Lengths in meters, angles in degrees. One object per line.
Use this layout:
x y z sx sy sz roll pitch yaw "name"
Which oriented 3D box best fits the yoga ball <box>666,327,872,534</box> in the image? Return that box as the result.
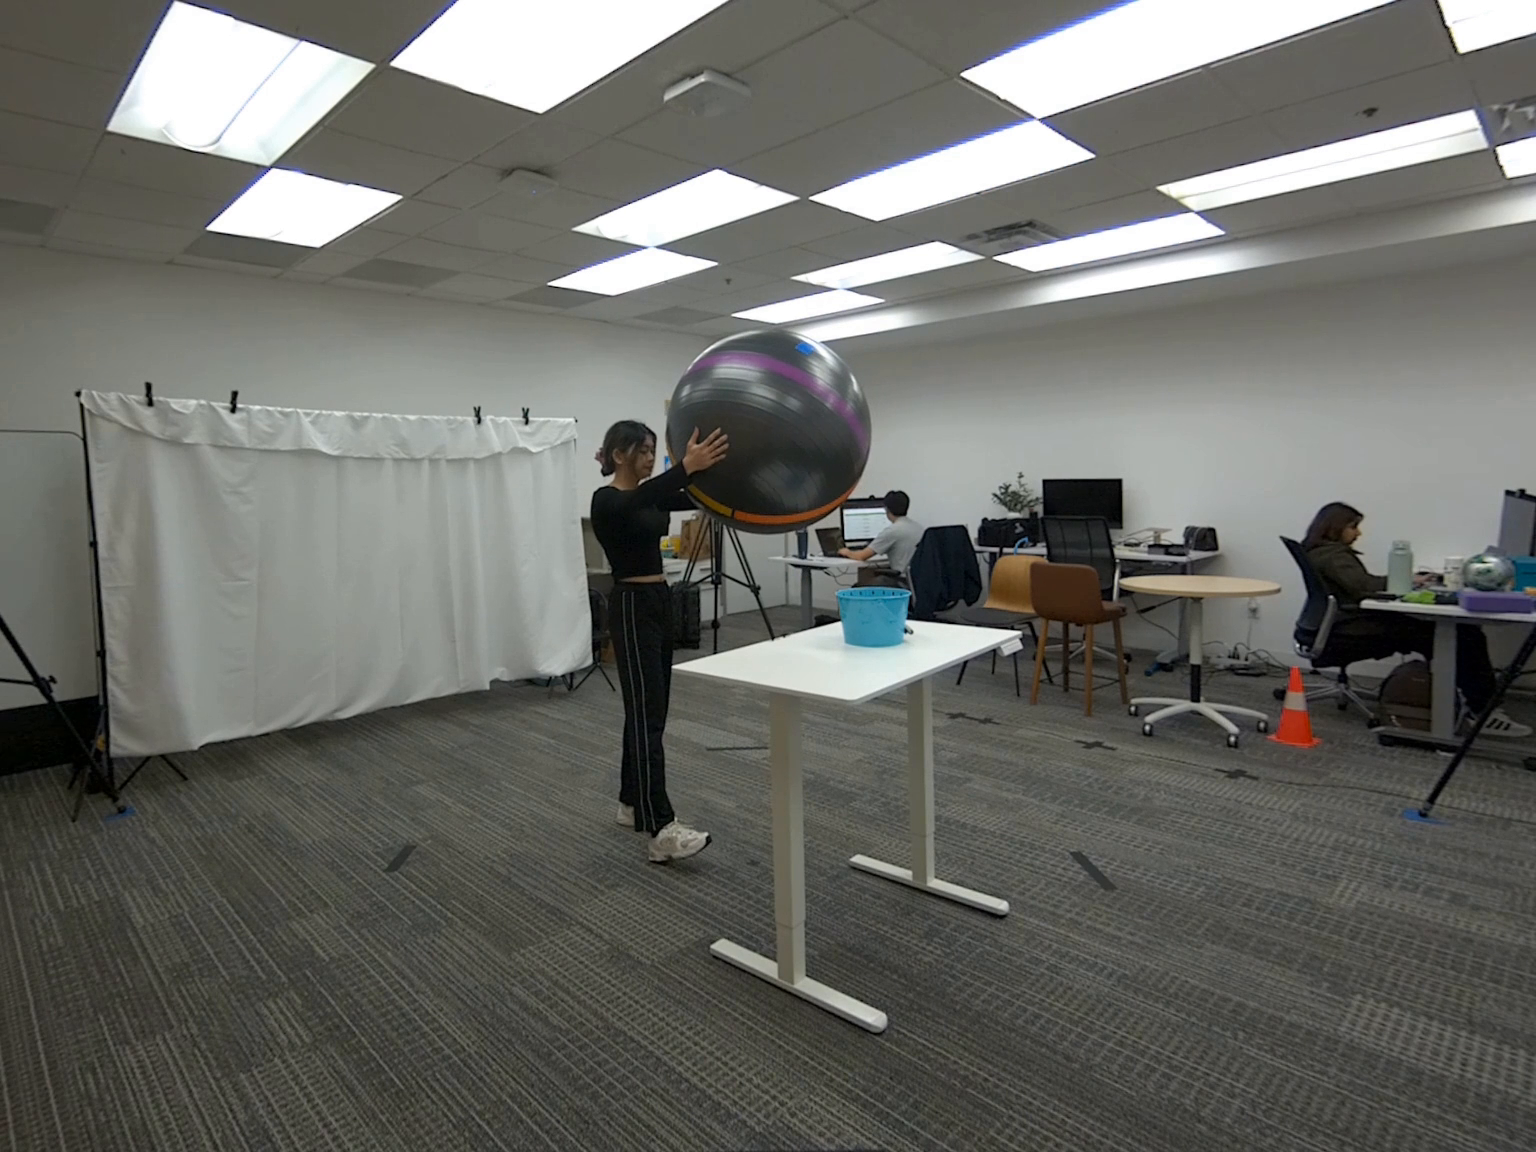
0.000 -0.526 3.172 0.757 0.755 0.762 -1 5 -2 "yoga ball"
